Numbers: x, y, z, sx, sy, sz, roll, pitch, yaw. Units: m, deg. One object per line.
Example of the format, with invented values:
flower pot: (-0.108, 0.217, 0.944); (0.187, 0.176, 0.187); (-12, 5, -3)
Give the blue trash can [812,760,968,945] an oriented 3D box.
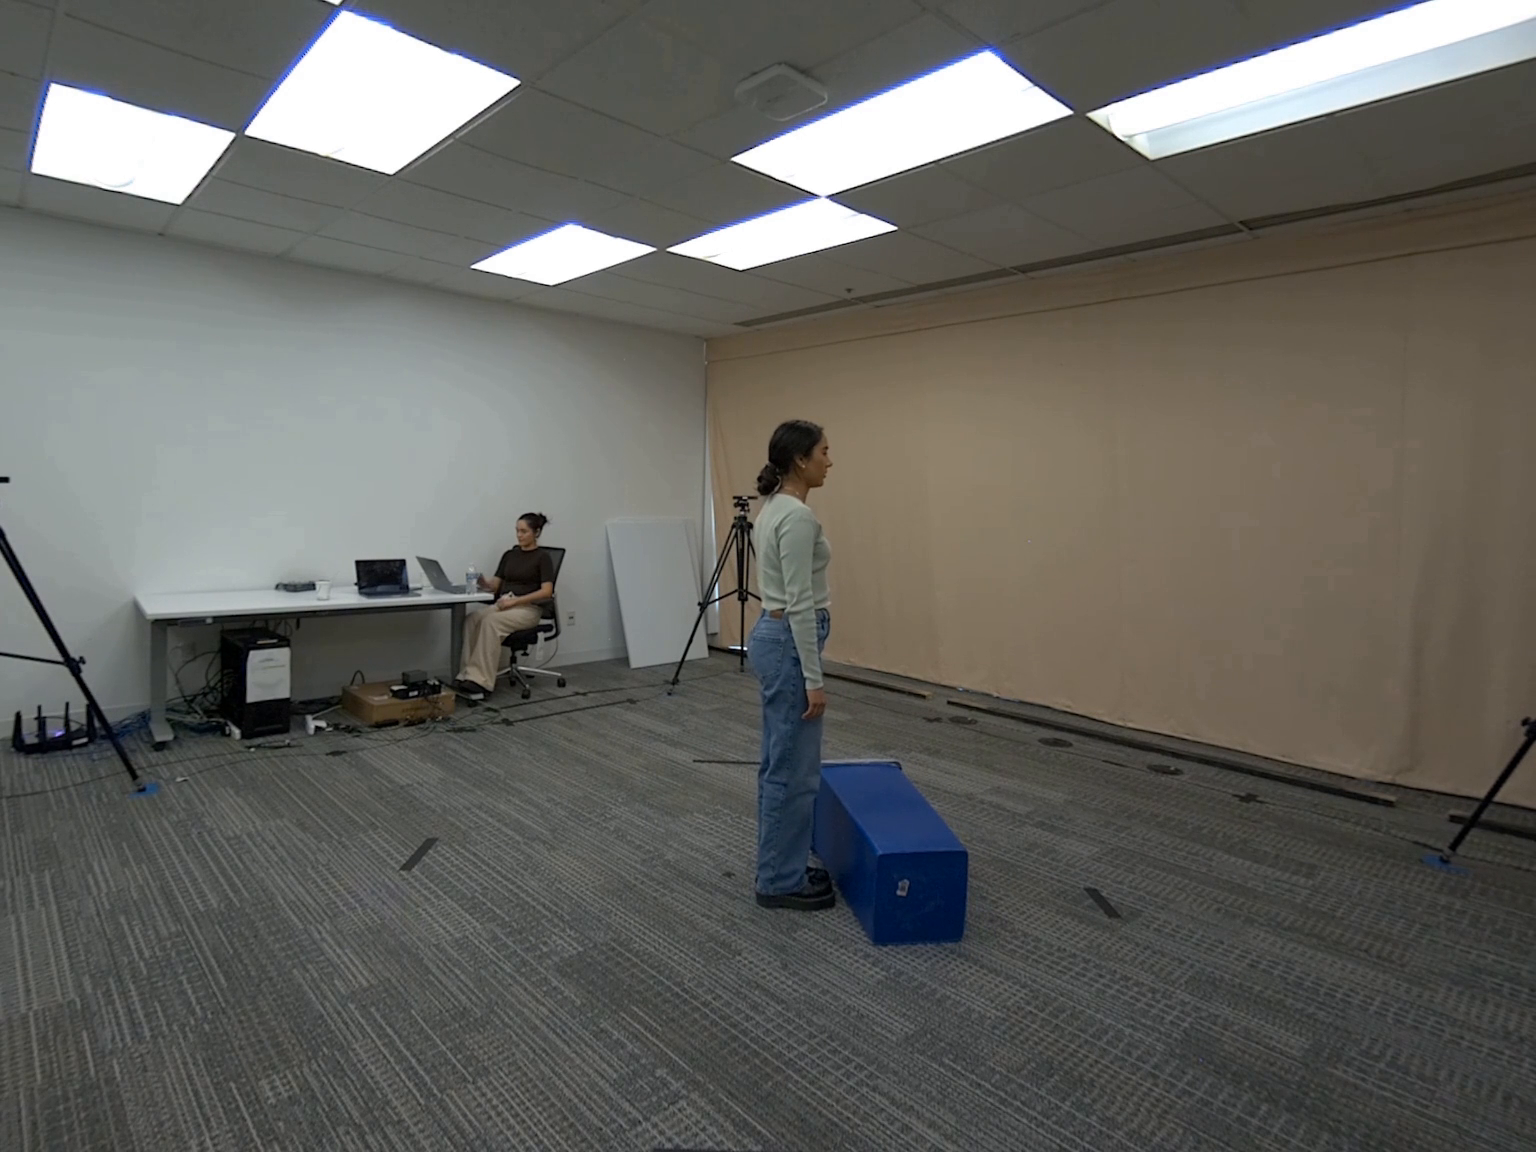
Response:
blue trash can: (0.401, 0.948, 2.985); (0.371, 0.376, 0.722); (0, 7, -10)
